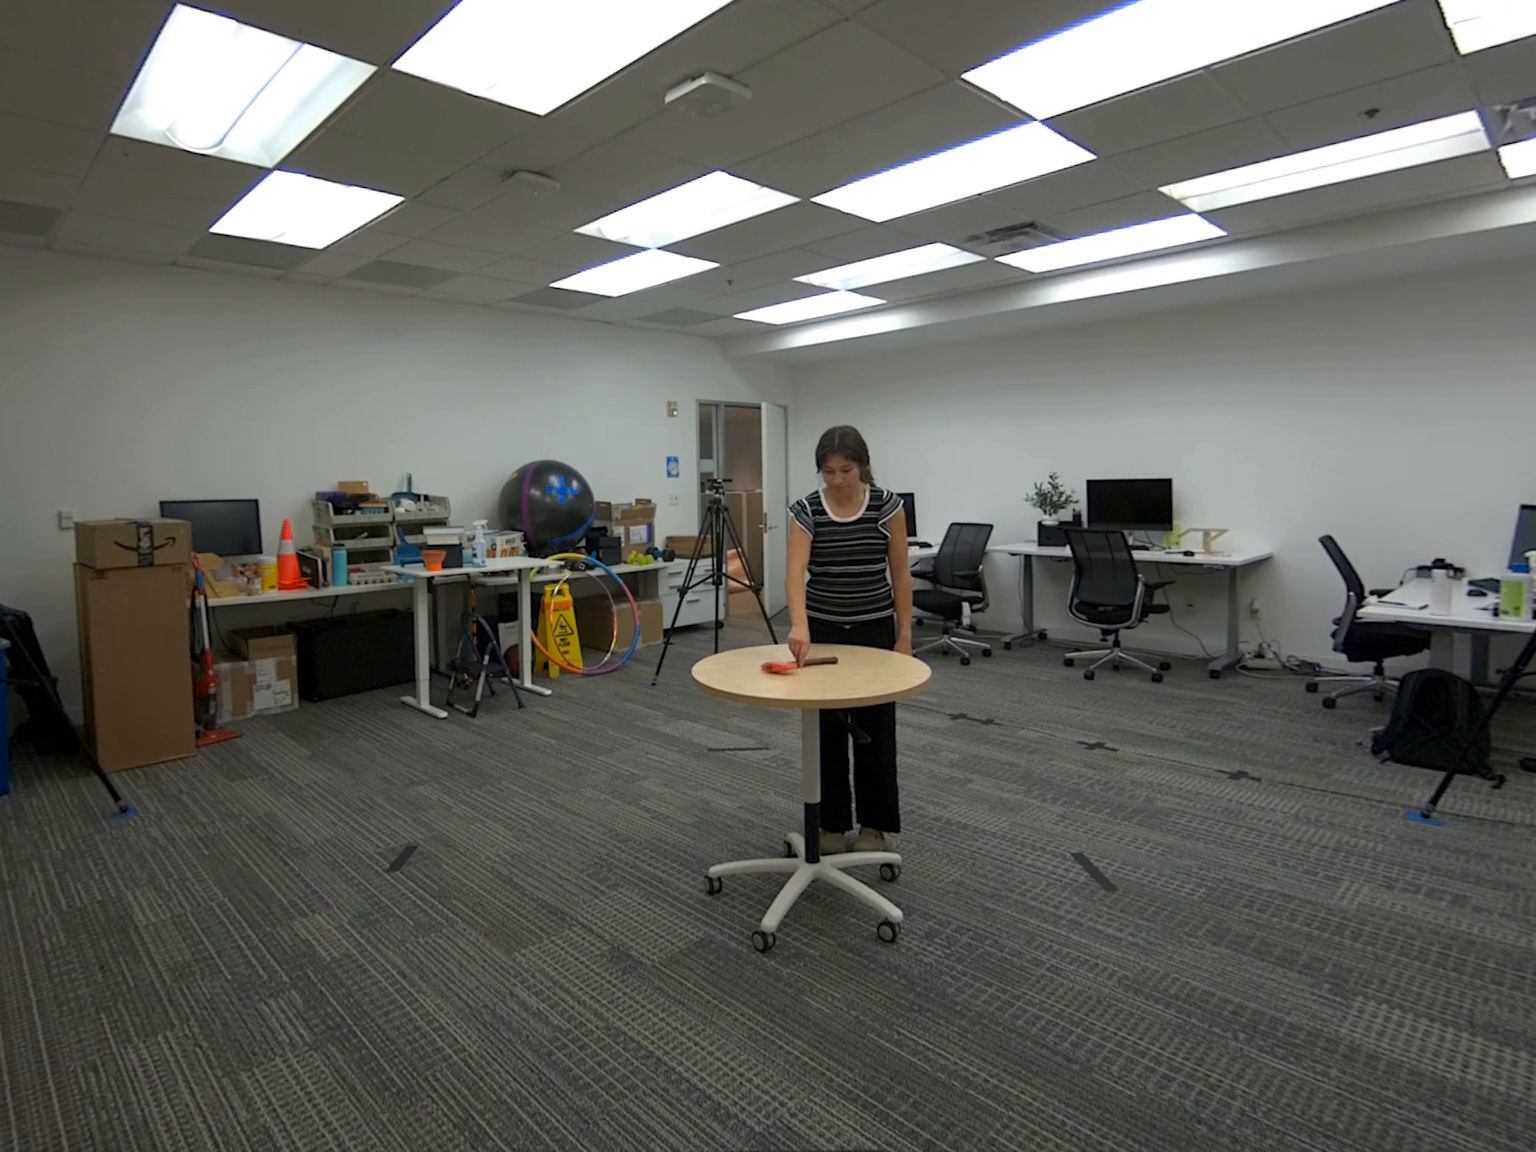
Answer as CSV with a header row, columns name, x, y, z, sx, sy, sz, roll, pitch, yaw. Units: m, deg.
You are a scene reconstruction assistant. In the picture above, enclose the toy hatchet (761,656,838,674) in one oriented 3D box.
name,x,y,z,sx,sy,sz,roll,pitch,yaw
toy hatchet,0.124,0.284,2.743,0.266,0.030,0.132,-4,-4,-17
